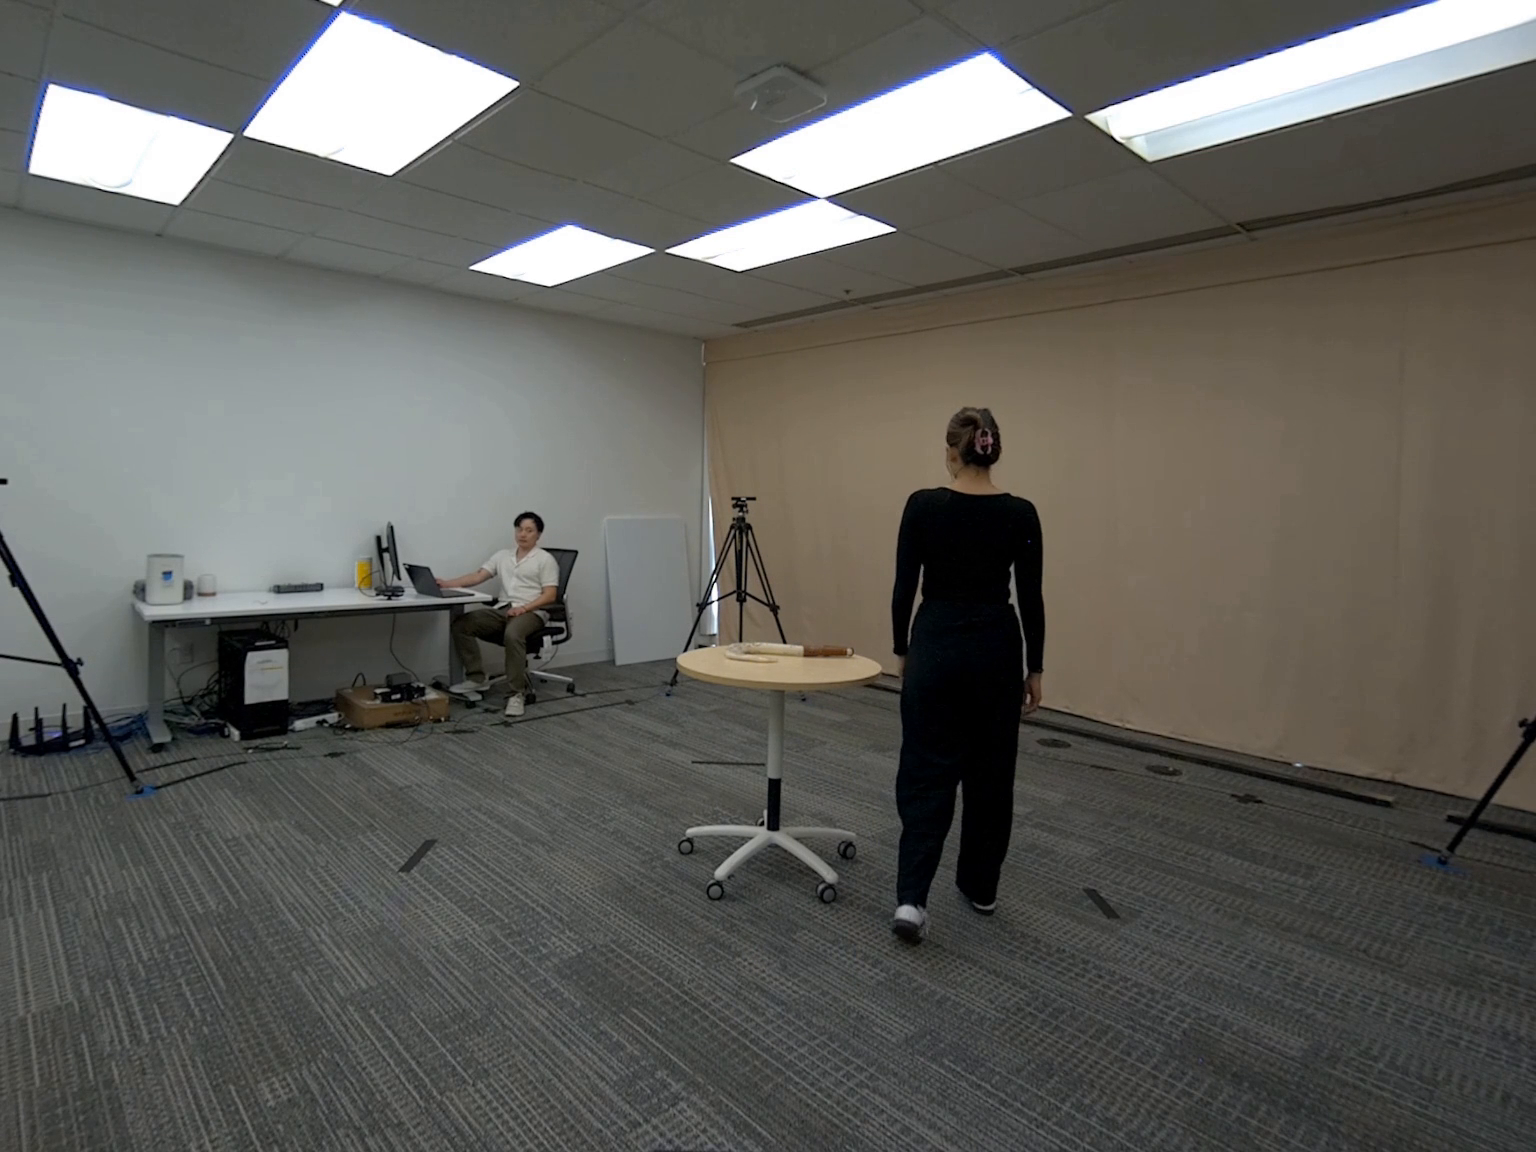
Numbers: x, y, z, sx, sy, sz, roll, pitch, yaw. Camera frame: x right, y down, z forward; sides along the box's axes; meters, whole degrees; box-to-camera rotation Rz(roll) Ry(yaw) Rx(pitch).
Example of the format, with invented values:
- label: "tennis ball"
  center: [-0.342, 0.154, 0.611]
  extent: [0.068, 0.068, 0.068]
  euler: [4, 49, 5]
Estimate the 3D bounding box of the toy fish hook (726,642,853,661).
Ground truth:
- label: "toy fish hook"
  center: [0.090, 0.309, 3.244]
  extent: [0.505, 0.048, 0.227]
  euler: [0, 13, -3]
